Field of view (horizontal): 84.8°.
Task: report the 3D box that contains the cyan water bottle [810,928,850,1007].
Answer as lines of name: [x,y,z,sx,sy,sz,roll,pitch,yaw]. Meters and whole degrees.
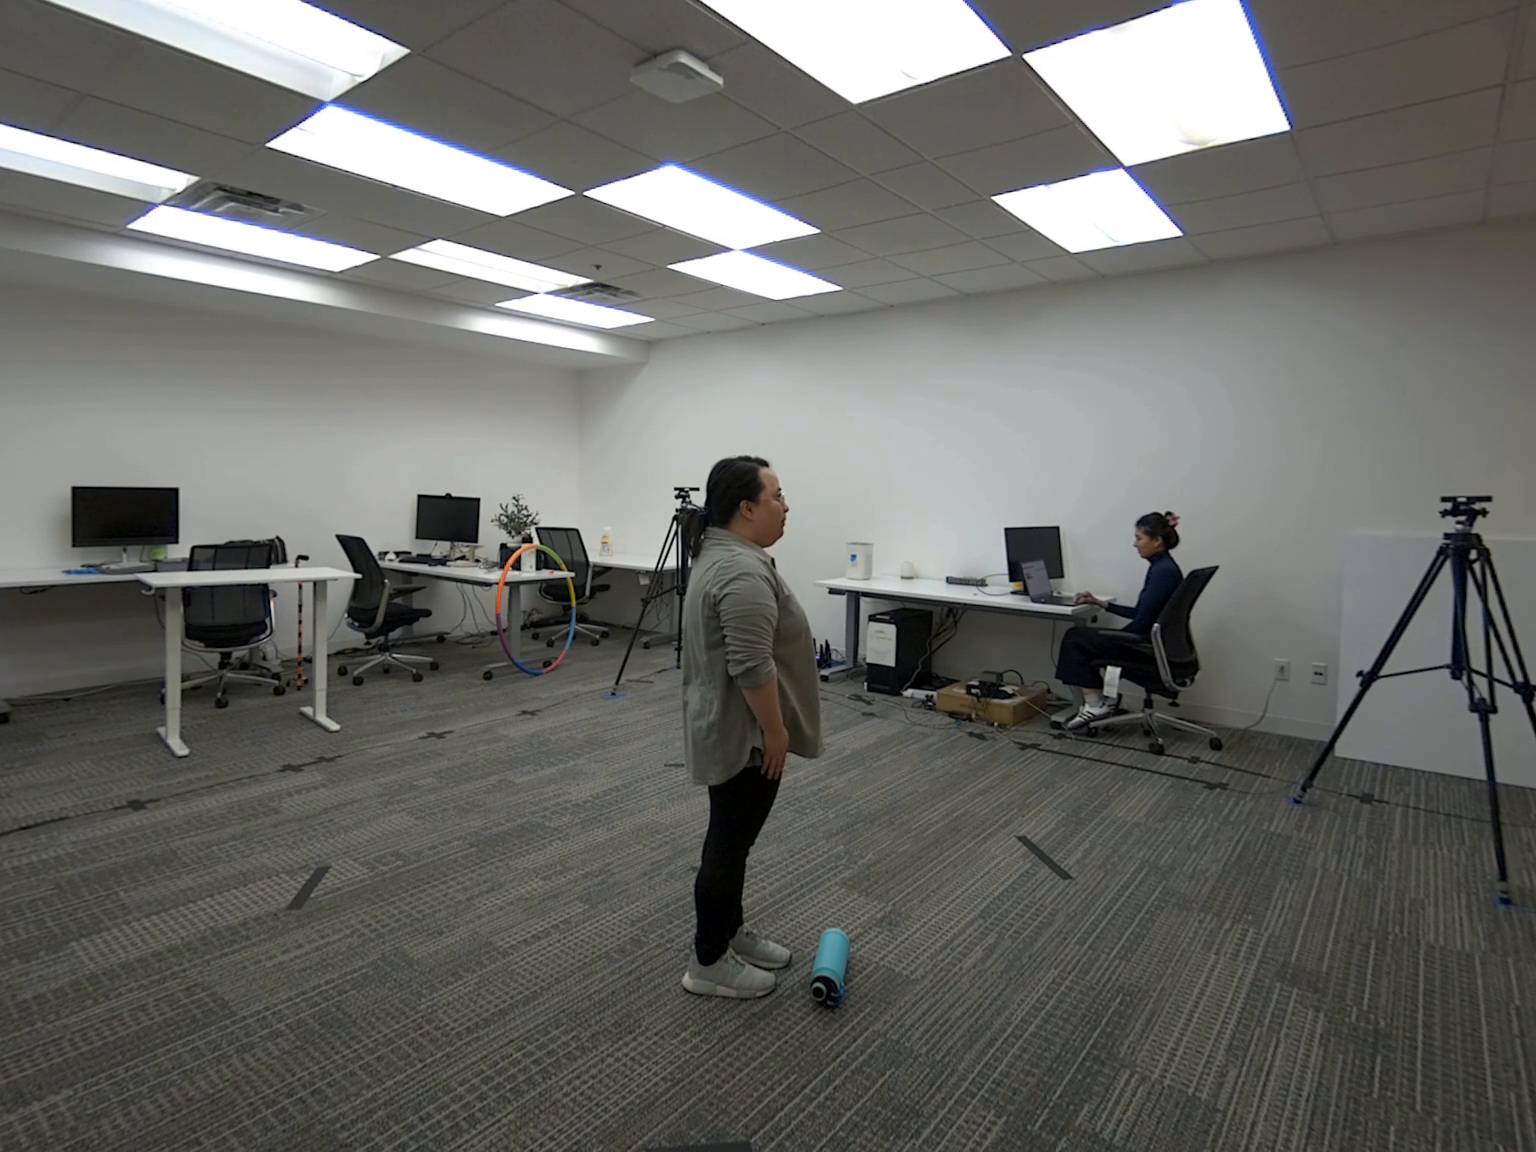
cyan water bottle: [0.168,1.103,2.390,0.093,0.092,0.281,2,6,10]
